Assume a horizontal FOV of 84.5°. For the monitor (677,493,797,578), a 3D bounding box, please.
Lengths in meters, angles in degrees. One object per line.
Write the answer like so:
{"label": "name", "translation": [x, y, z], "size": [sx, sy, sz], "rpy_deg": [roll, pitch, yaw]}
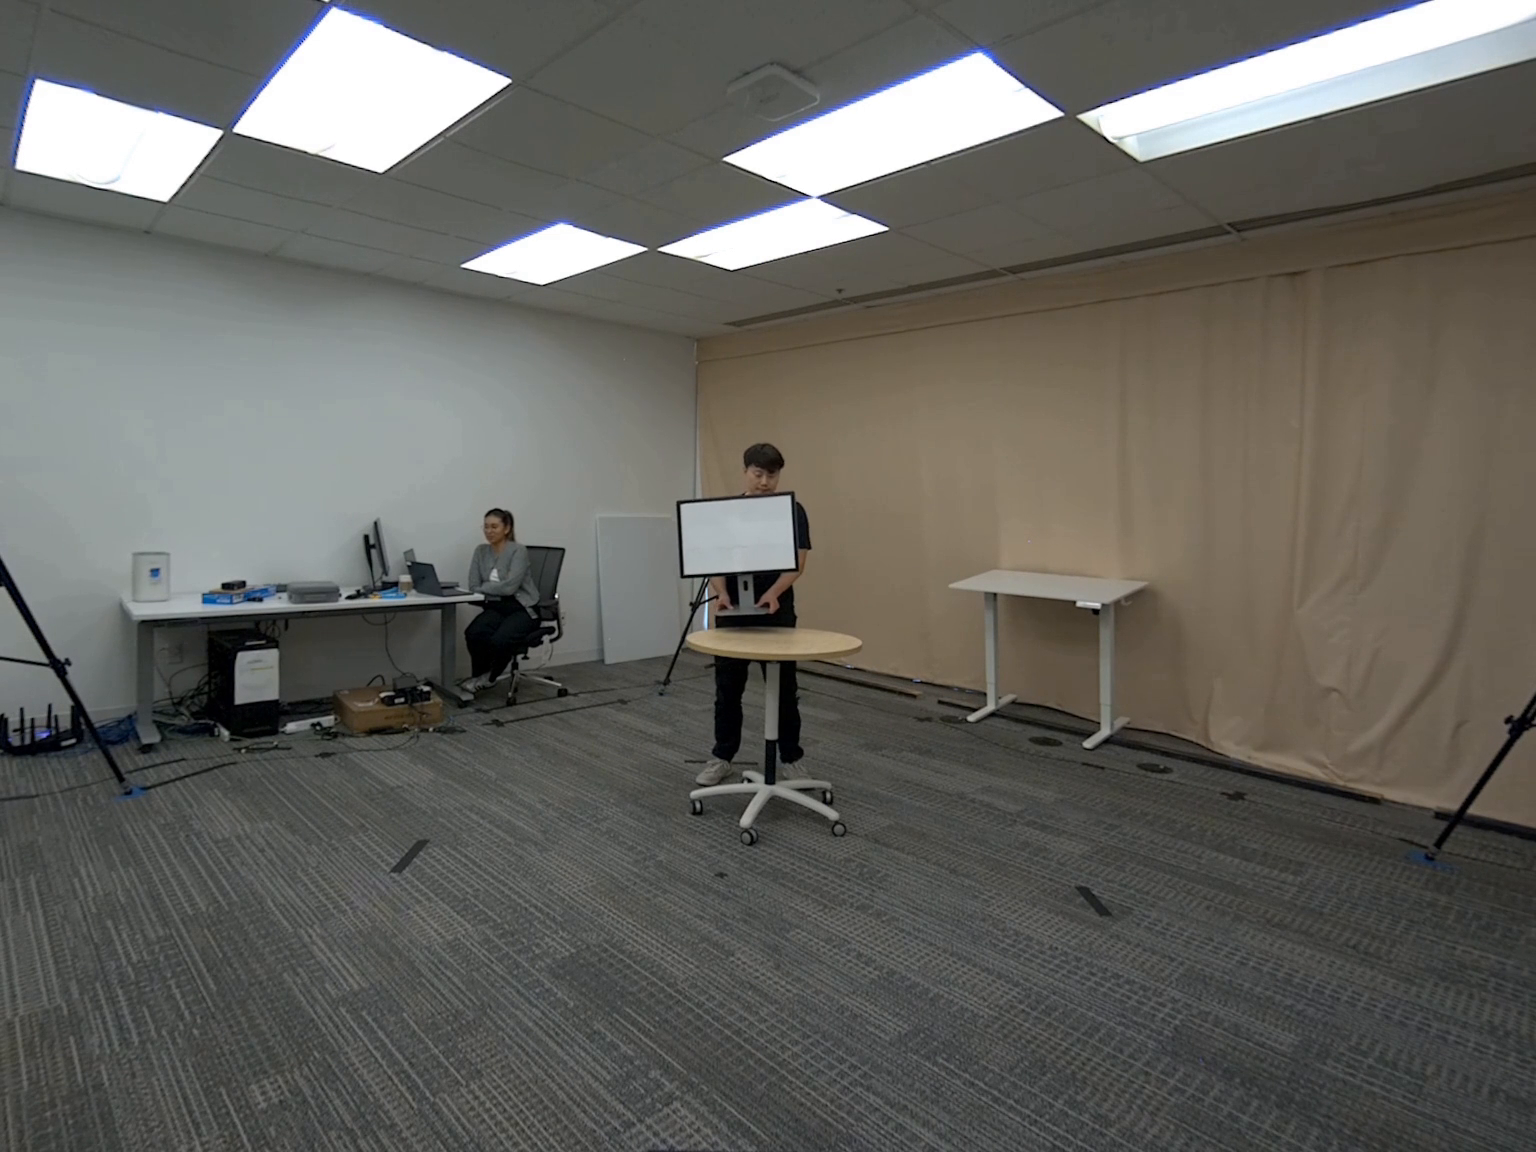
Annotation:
{"label": "monitor", "translation": [-0.139, -0.101, 3.887], "size": [0.545, 0.519, 0.186], "rpy_deg": [-4, 8, 15]}
